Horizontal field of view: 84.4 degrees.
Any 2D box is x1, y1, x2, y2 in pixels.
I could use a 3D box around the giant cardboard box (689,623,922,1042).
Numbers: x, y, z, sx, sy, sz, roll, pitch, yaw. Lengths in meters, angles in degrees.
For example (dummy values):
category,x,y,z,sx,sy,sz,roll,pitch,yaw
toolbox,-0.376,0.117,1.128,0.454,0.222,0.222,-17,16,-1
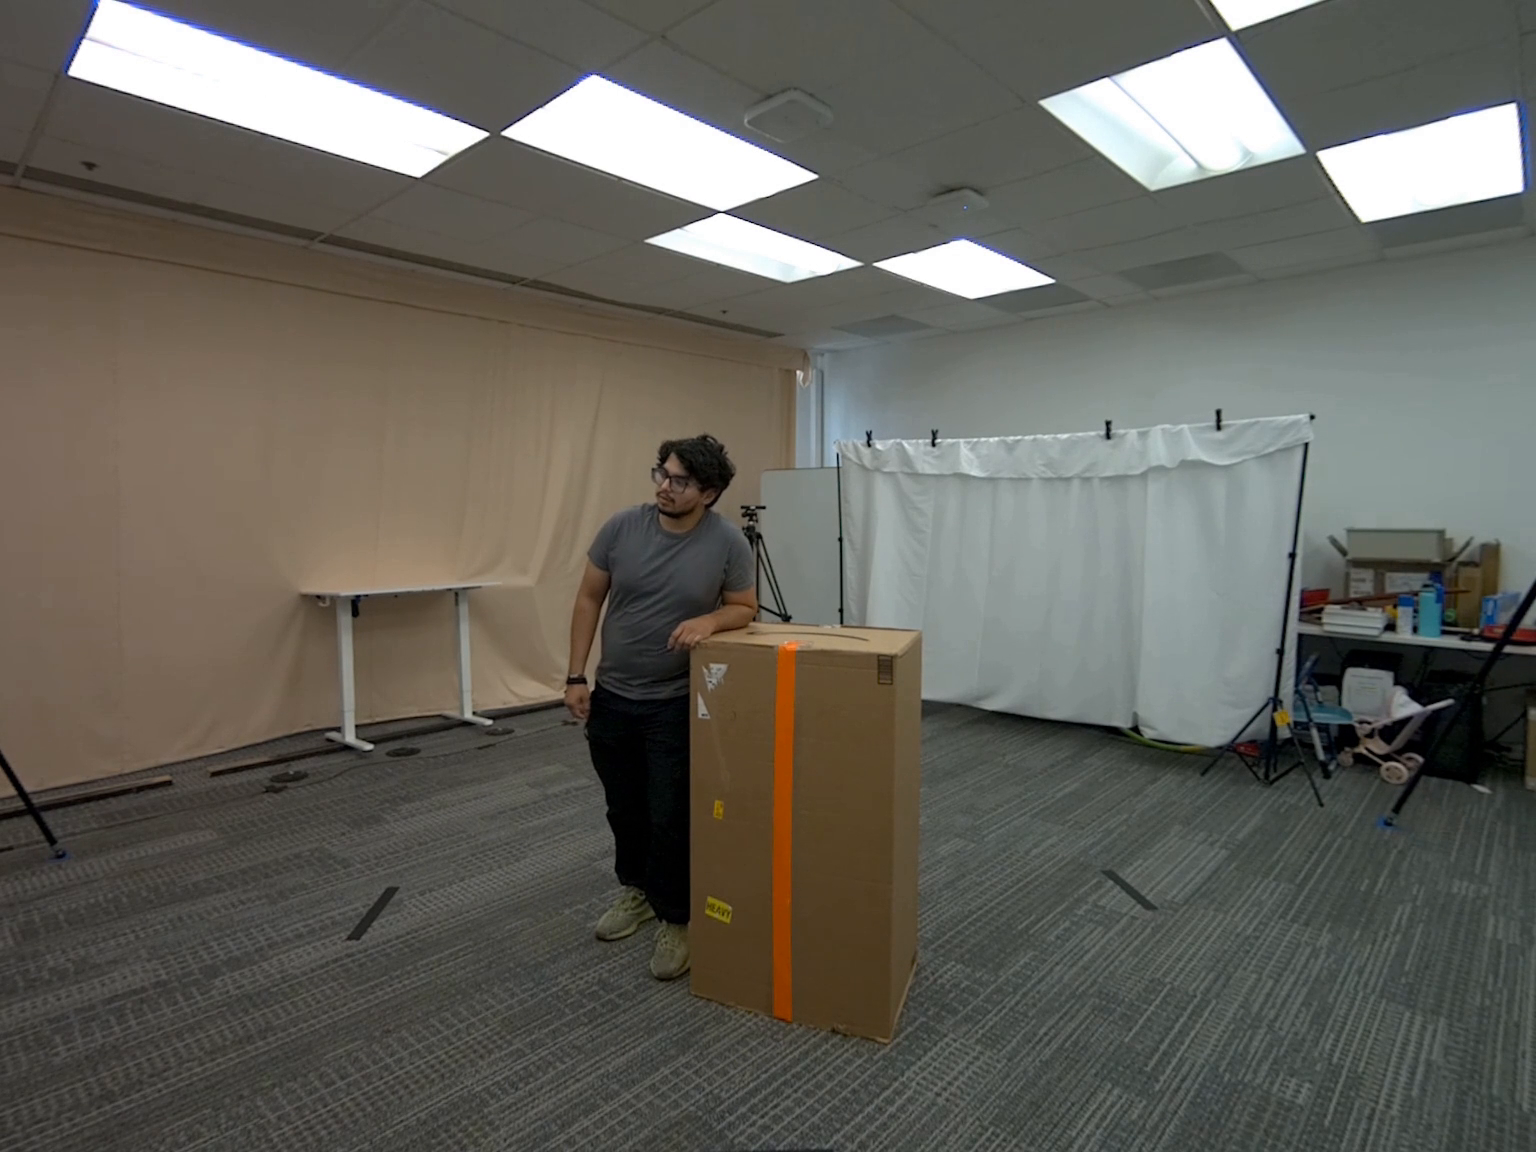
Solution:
category,x,y,z,sx,sy,sz,roll,pitch,yaw
giant cardboard box,0.129,0.681,2.440,0.591,1.024,0.417,2,3,22
